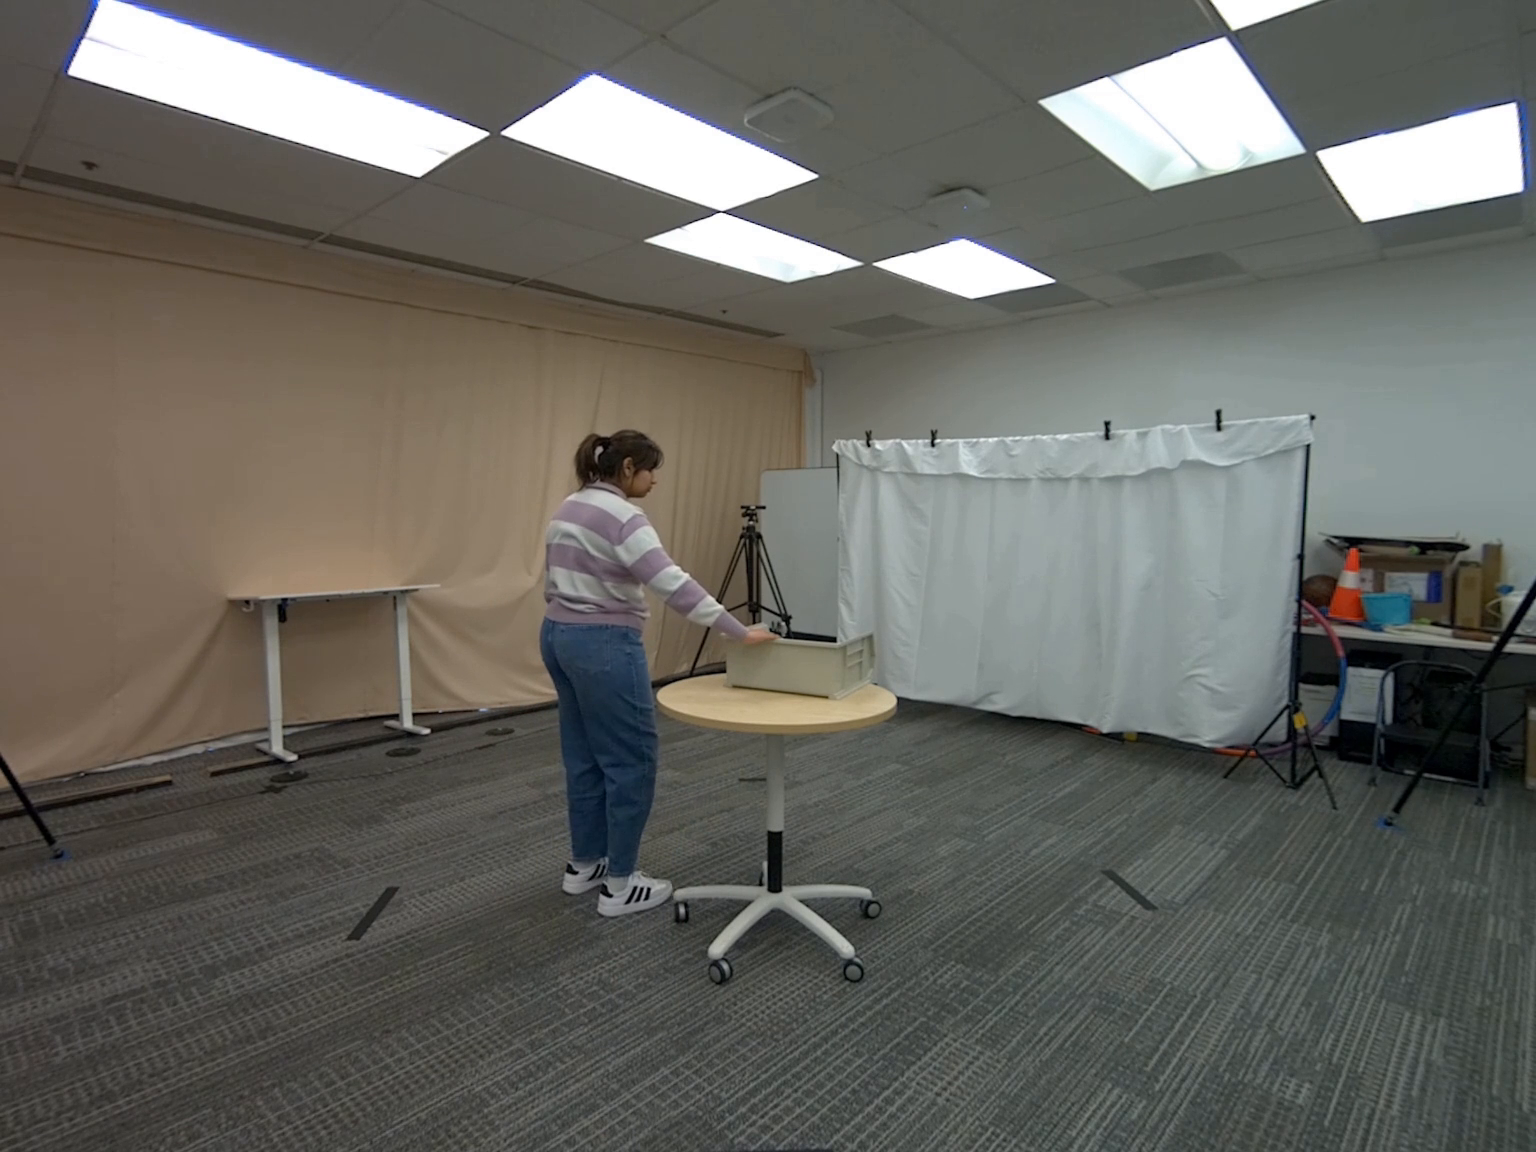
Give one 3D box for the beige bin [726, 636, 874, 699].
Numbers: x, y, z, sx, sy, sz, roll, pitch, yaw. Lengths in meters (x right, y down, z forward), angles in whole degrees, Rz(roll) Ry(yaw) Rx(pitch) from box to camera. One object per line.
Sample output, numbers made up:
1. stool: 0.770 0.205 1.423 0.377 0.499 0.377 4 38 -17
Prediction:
1. beige bin: 0.115 0.281 2.875 0.433 0.188 0.369 3 6 25
